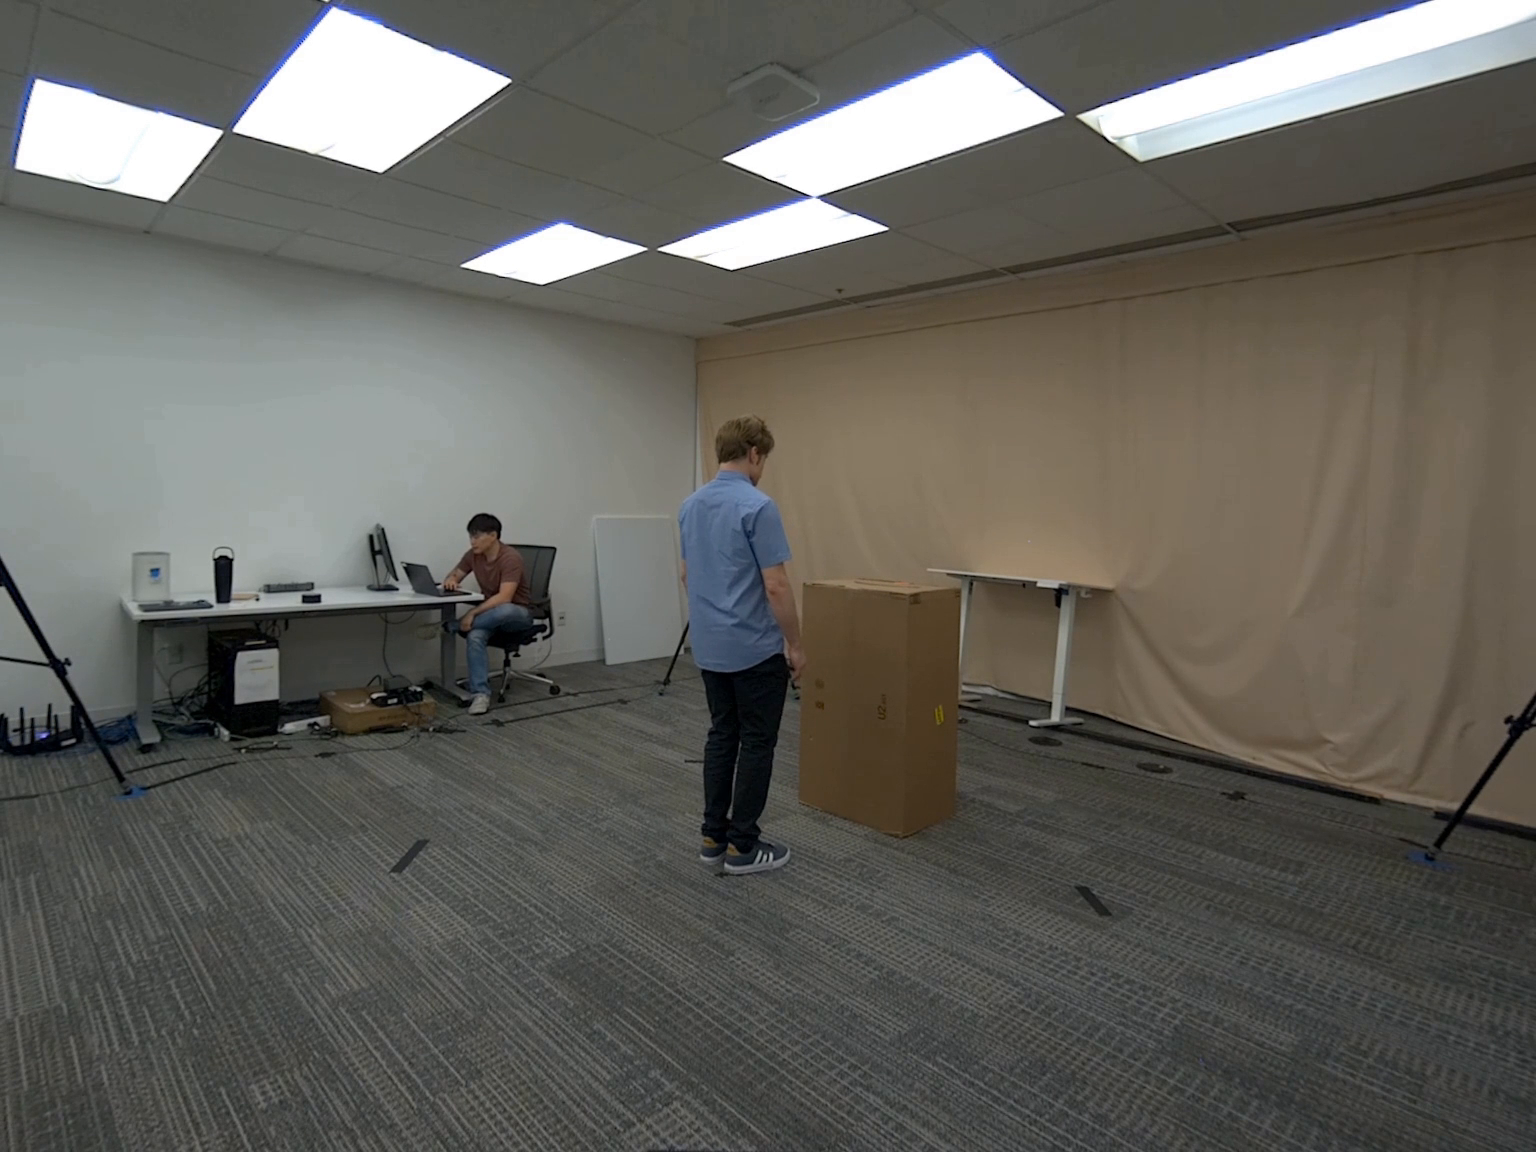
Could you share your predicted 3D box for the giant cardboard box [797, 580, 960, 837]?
[{"bbox_3d":[0.492,0.548,3.812,0.592,1.023,0.416,4,4,44],"label":"giant cardboard box"}]
